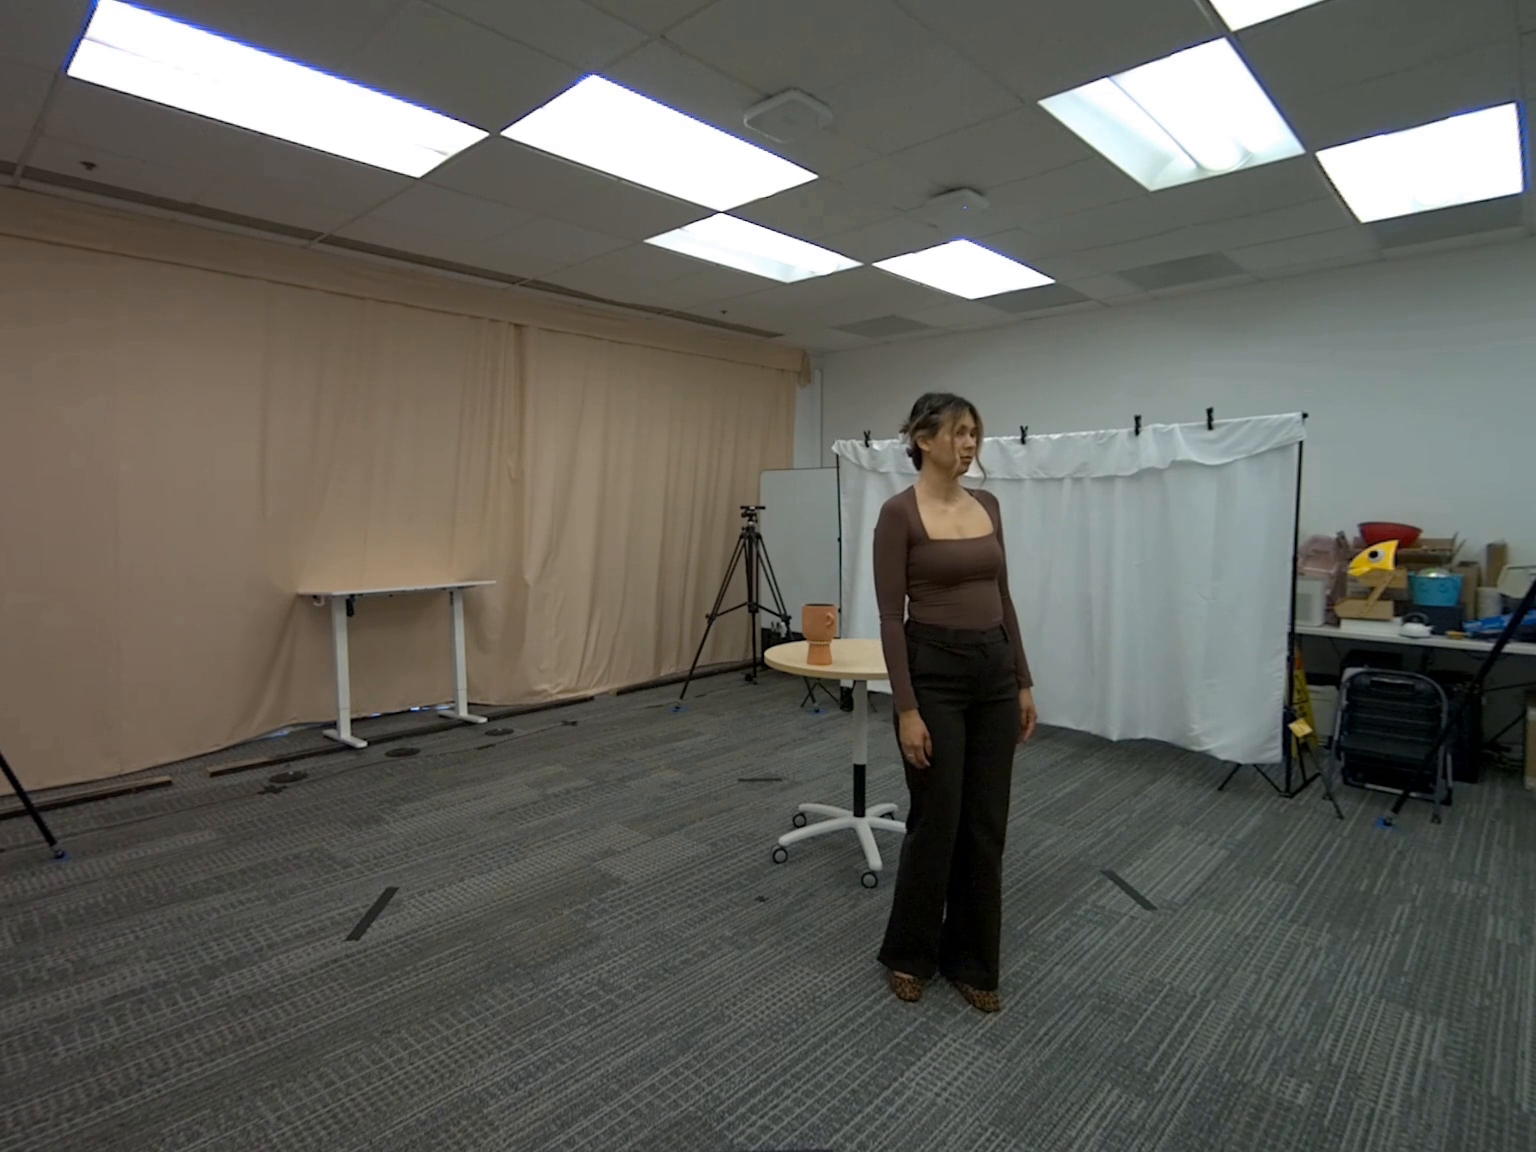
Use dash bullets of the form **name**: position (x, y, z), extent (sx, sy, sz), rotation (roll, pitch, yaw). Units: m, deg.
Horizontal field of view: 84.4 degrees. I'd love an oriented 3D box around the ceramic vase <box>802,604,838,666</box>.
- **ceramic vase**: position (0.199, 0.221, 3.183), extent (0.137, 0.219, 0.157), rotation (-1, 4, 13)
